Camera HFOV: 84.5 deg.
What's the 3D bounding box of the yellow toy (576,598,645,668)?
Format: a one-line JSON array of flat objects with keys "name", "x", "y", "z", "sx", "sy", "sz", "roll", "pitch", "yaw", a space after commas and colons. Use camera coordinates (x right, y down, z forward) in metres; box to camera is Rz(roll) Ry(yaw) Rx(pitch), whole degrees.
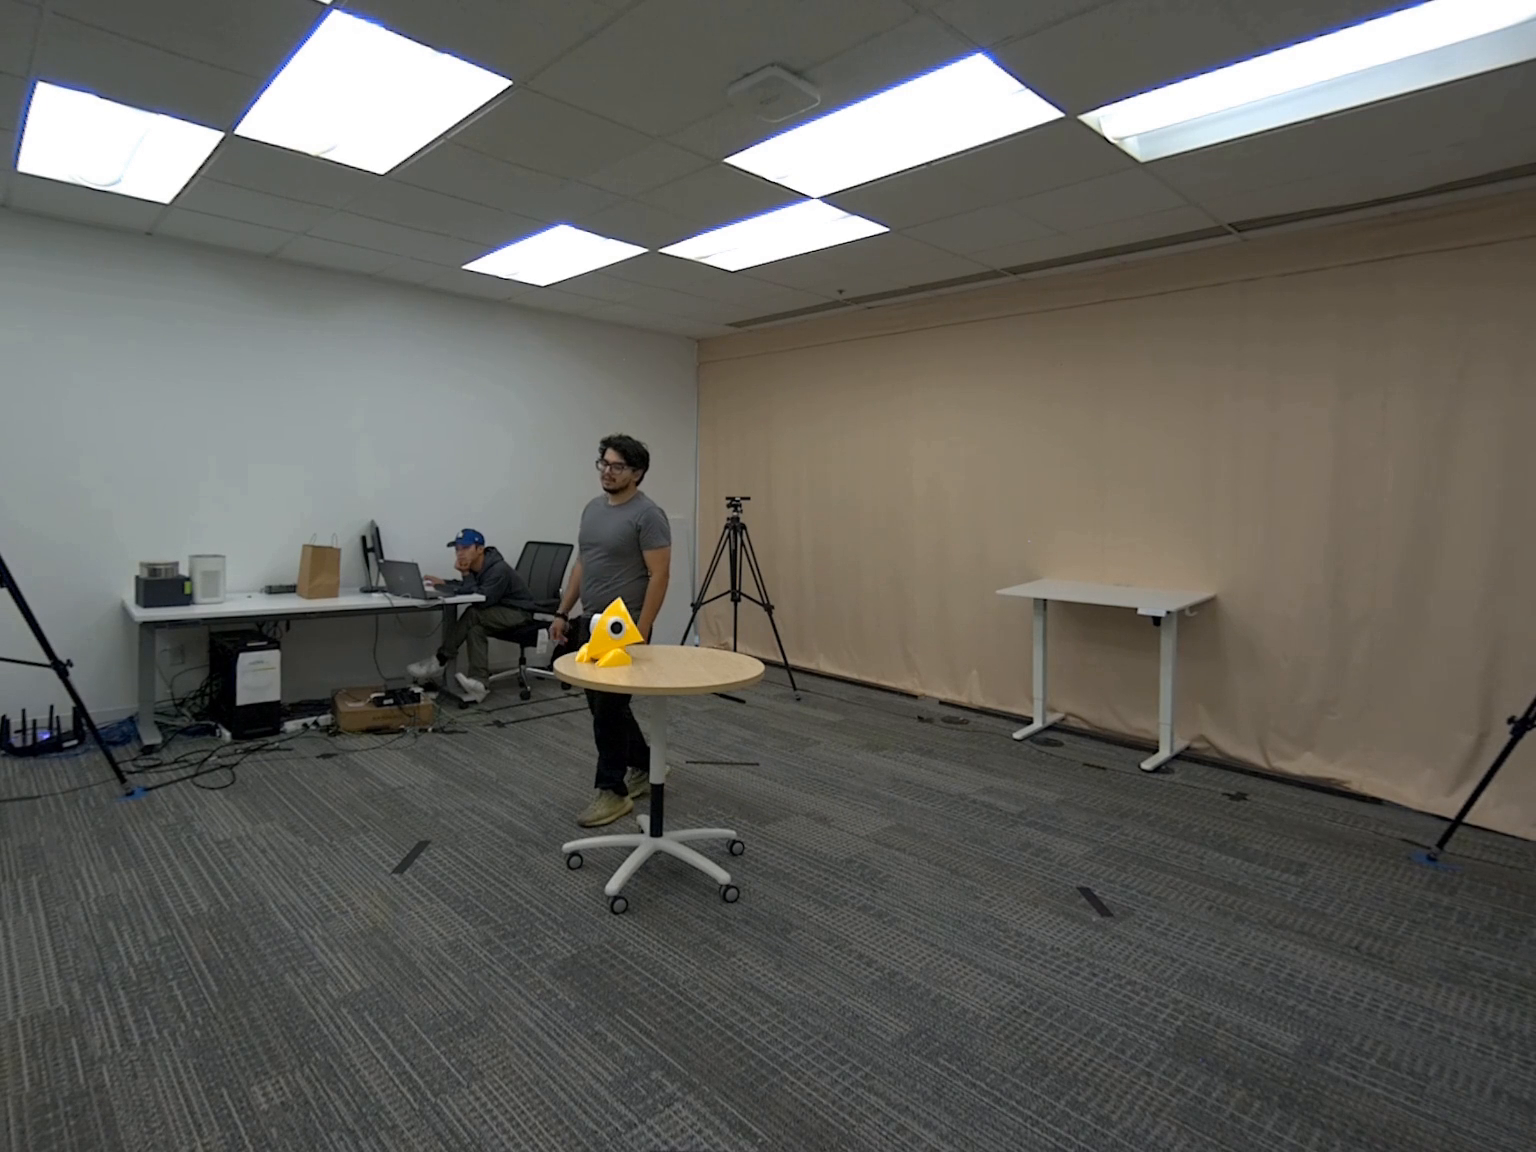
[{"name": "yellow toy", "x": -0.604, "y": 0.200, "z": 3.087, "sx": 0.210, "sy": 0.230, "sz": 0.189, "roll": 5, "pitch": 5, "yaw": 38}]
